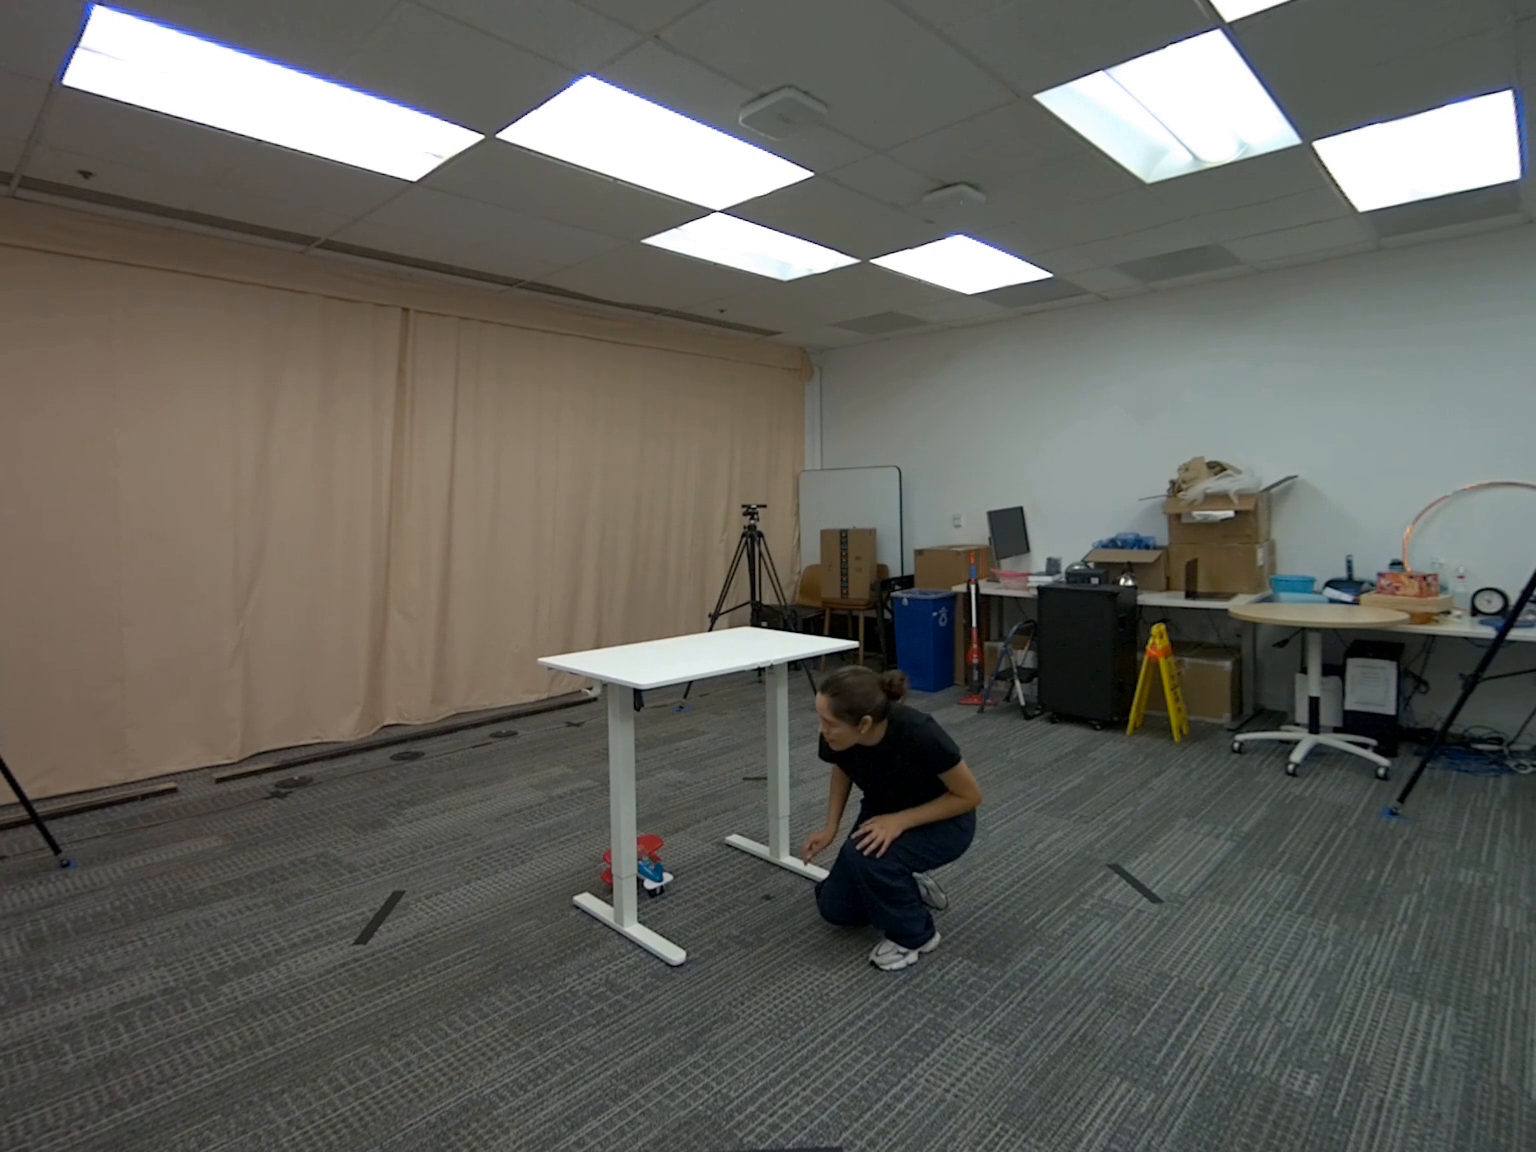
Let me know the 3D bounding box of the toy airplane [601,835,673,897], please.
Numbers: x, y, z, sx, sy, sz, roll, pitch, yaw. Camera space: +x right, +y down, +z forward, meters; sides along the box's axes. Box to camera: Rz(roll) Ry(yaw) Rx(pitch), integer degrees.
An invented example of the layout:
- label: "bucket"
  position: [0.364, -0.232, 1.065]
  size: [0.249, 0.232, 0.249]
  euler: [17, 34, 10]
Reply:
- label: "toy airplane"
  position: [-0.452, 1.069, 3.091]
  size: [0.263, 0.156, 0.248]
  euler: [-2, 5, 15]
